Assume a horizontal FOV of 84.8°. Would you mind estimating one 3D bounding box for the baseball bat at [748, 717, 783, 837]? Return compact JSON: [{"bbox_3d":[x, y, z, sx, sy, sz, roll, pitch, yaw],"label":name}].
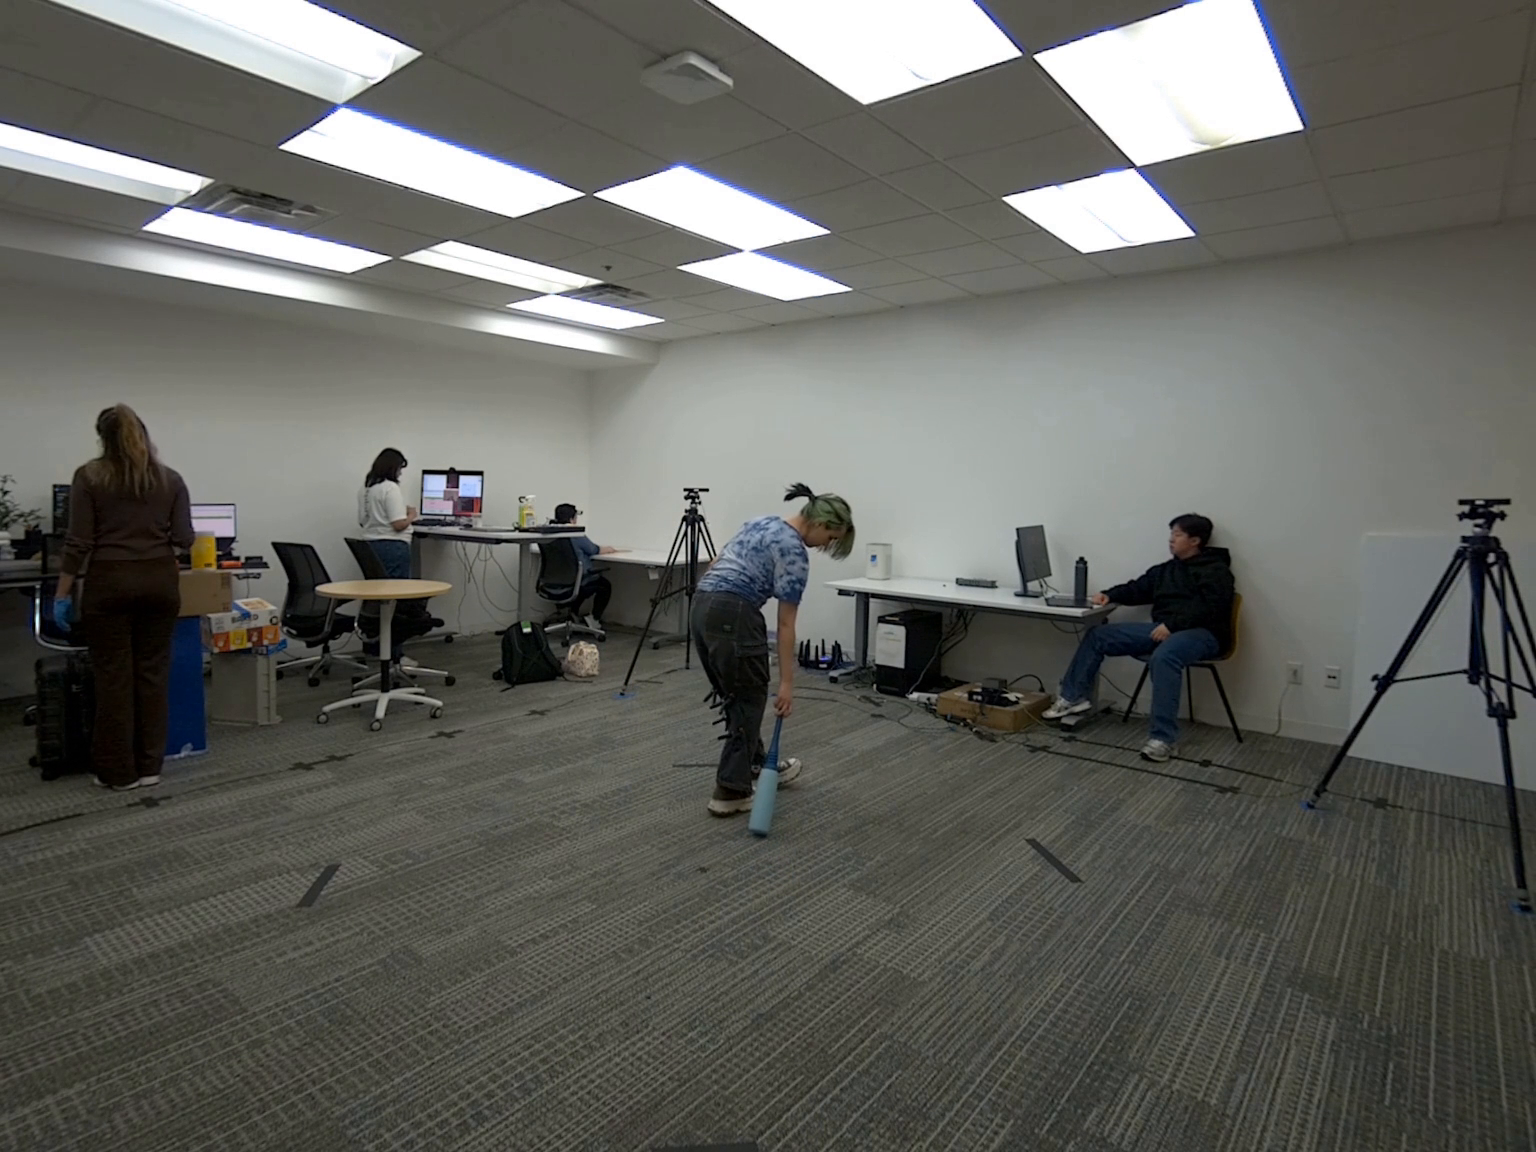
[{"bbox_3d":[0.005,0.788,3.533,0.089,0.551,0.087,11,-24,3],"label":"baseball bat"}]
